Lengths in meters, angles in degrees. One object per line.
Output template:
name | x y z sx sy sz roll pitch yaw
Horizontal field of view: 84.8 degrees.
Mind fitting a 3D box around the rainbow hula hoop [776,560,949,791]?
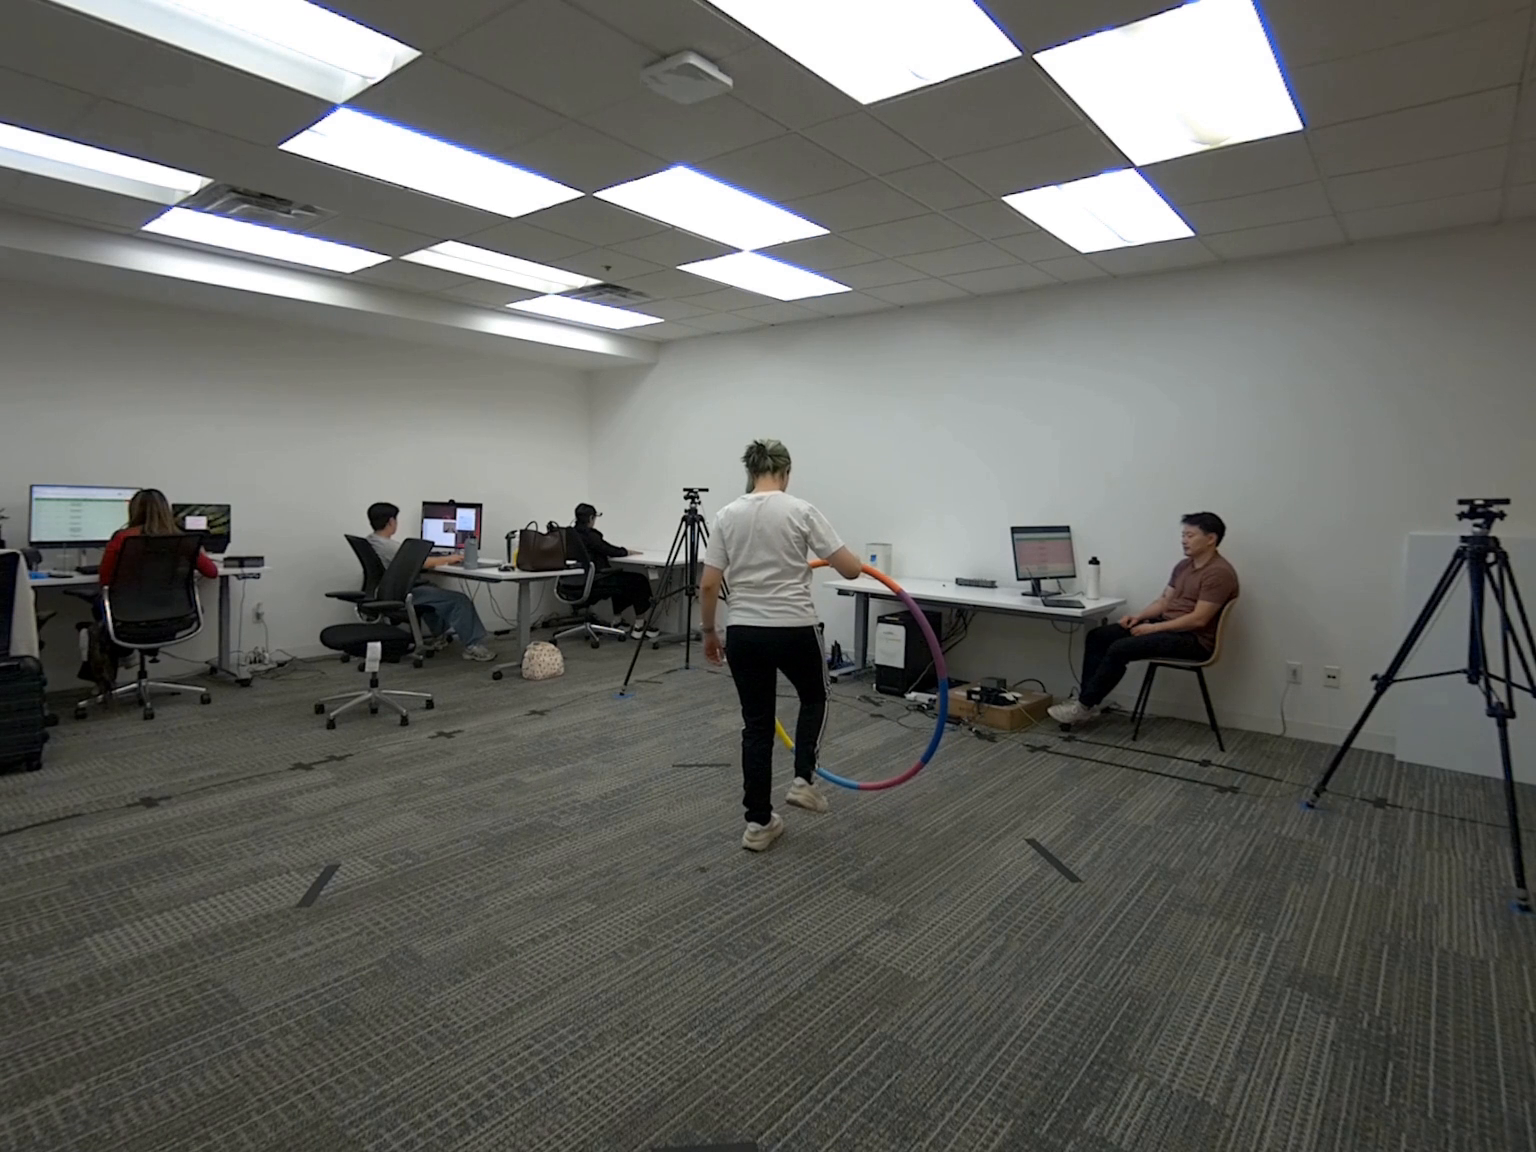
rainbow hula hoop | 0.297 0.413 3.598 1.012 0.970 0.035 4 11 40
